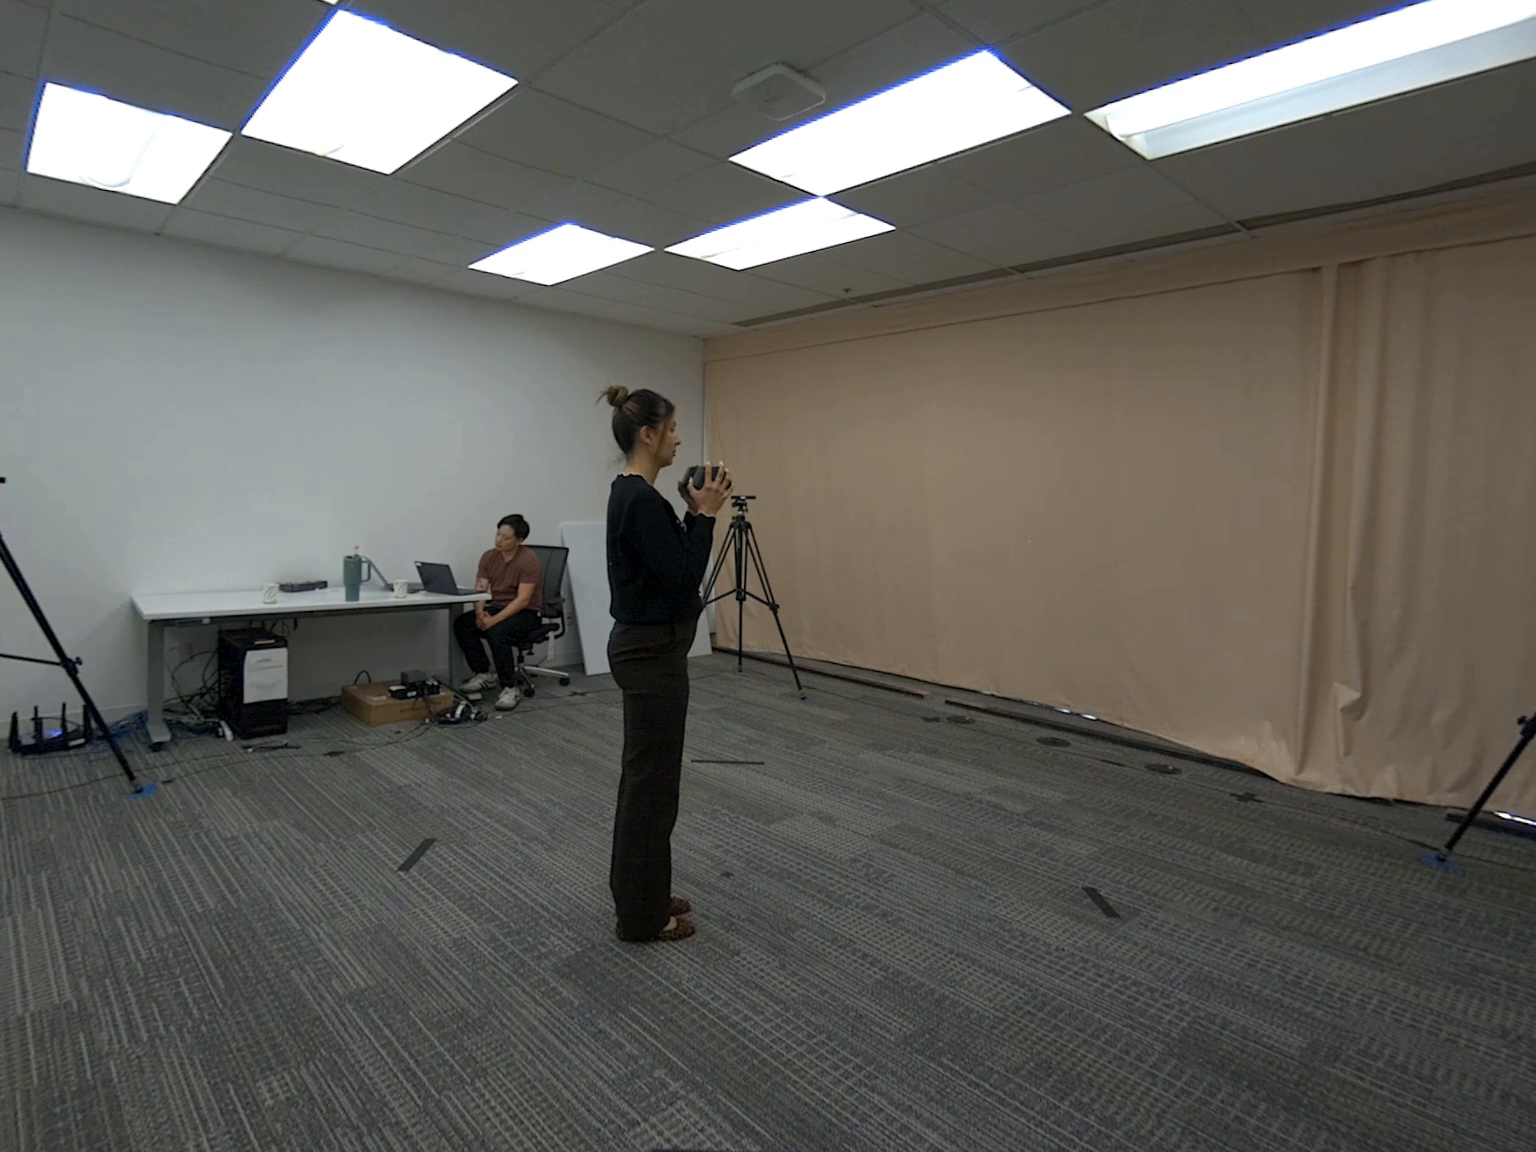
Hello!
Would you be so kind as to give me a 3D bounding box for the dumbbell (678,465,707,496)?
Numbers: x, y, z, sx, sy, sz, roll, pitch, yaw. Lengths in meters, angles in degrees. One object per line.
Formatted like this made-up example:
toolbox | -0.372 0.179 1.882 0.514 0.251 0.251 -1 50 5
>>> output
dumbbell | -0.225 -0.292 2.674 0.107 0.123 0.298 42 -3 -16
